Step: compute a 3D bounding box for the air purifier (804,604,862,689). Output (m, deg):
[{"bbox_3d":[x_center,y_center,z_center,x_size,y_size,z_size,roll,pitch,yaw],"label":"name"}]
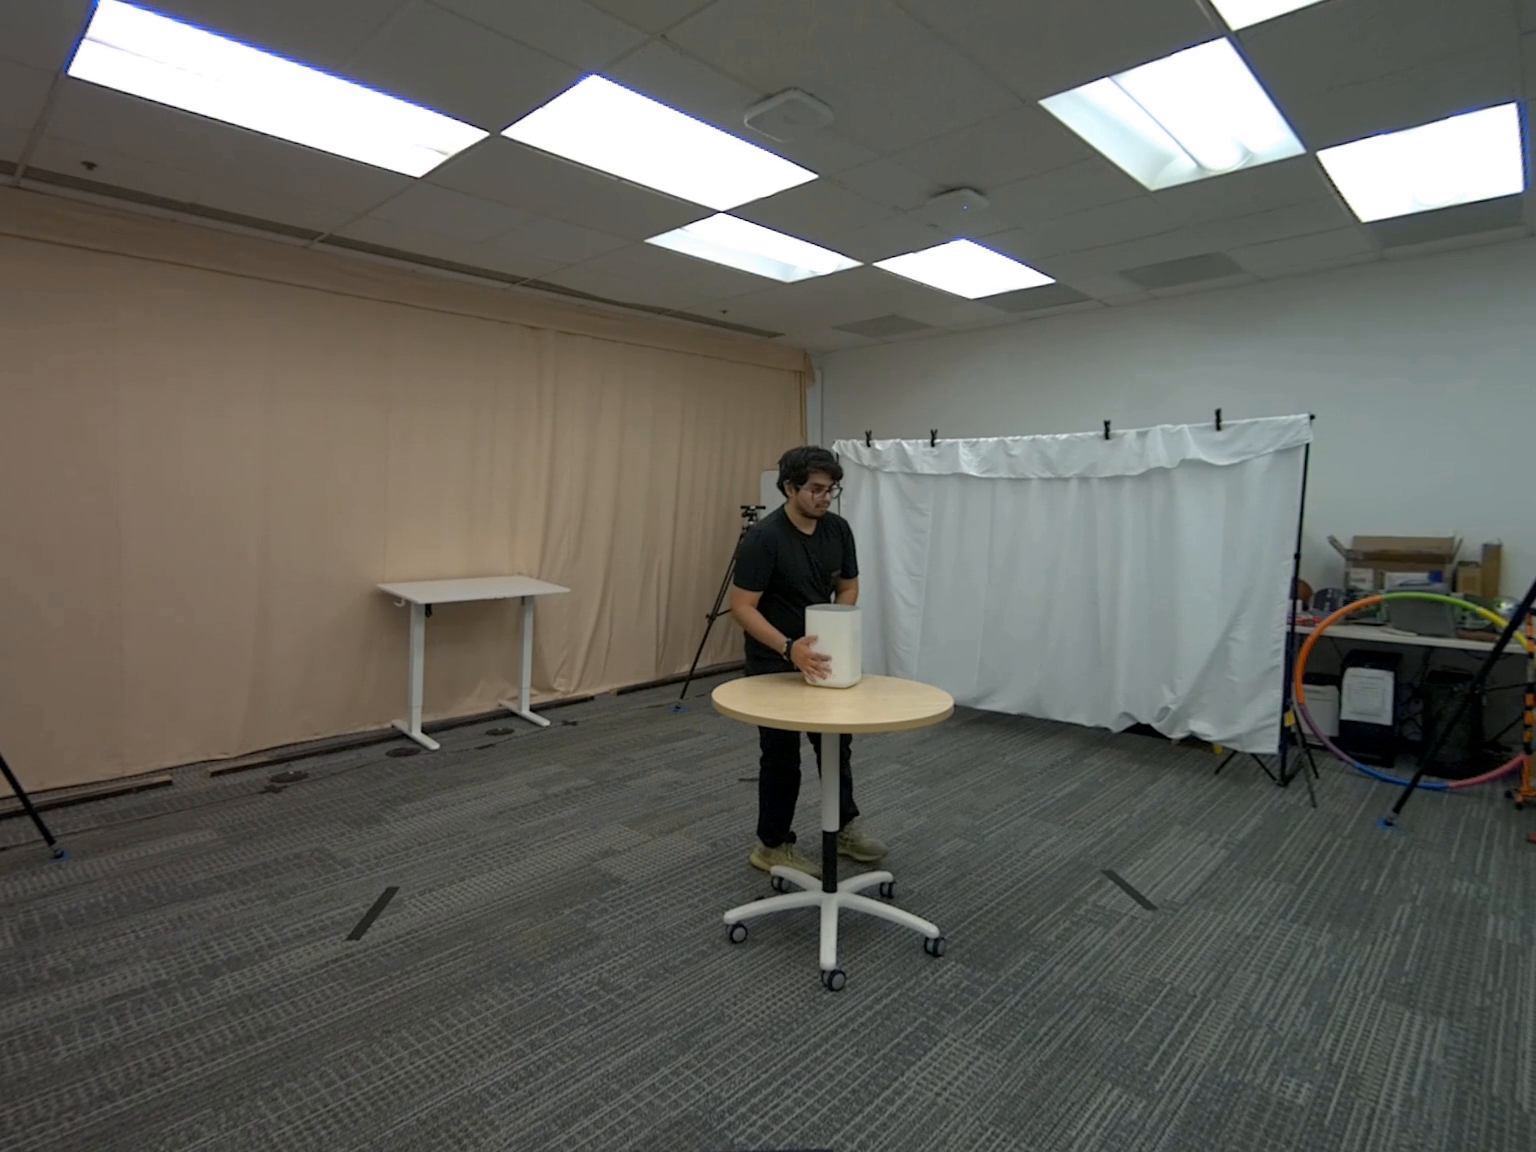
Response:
[{"bbox_3d":[0.218,0.234,2.871,0.175,0.265,0.167,2,3,25],"label":"air purifier"}]
